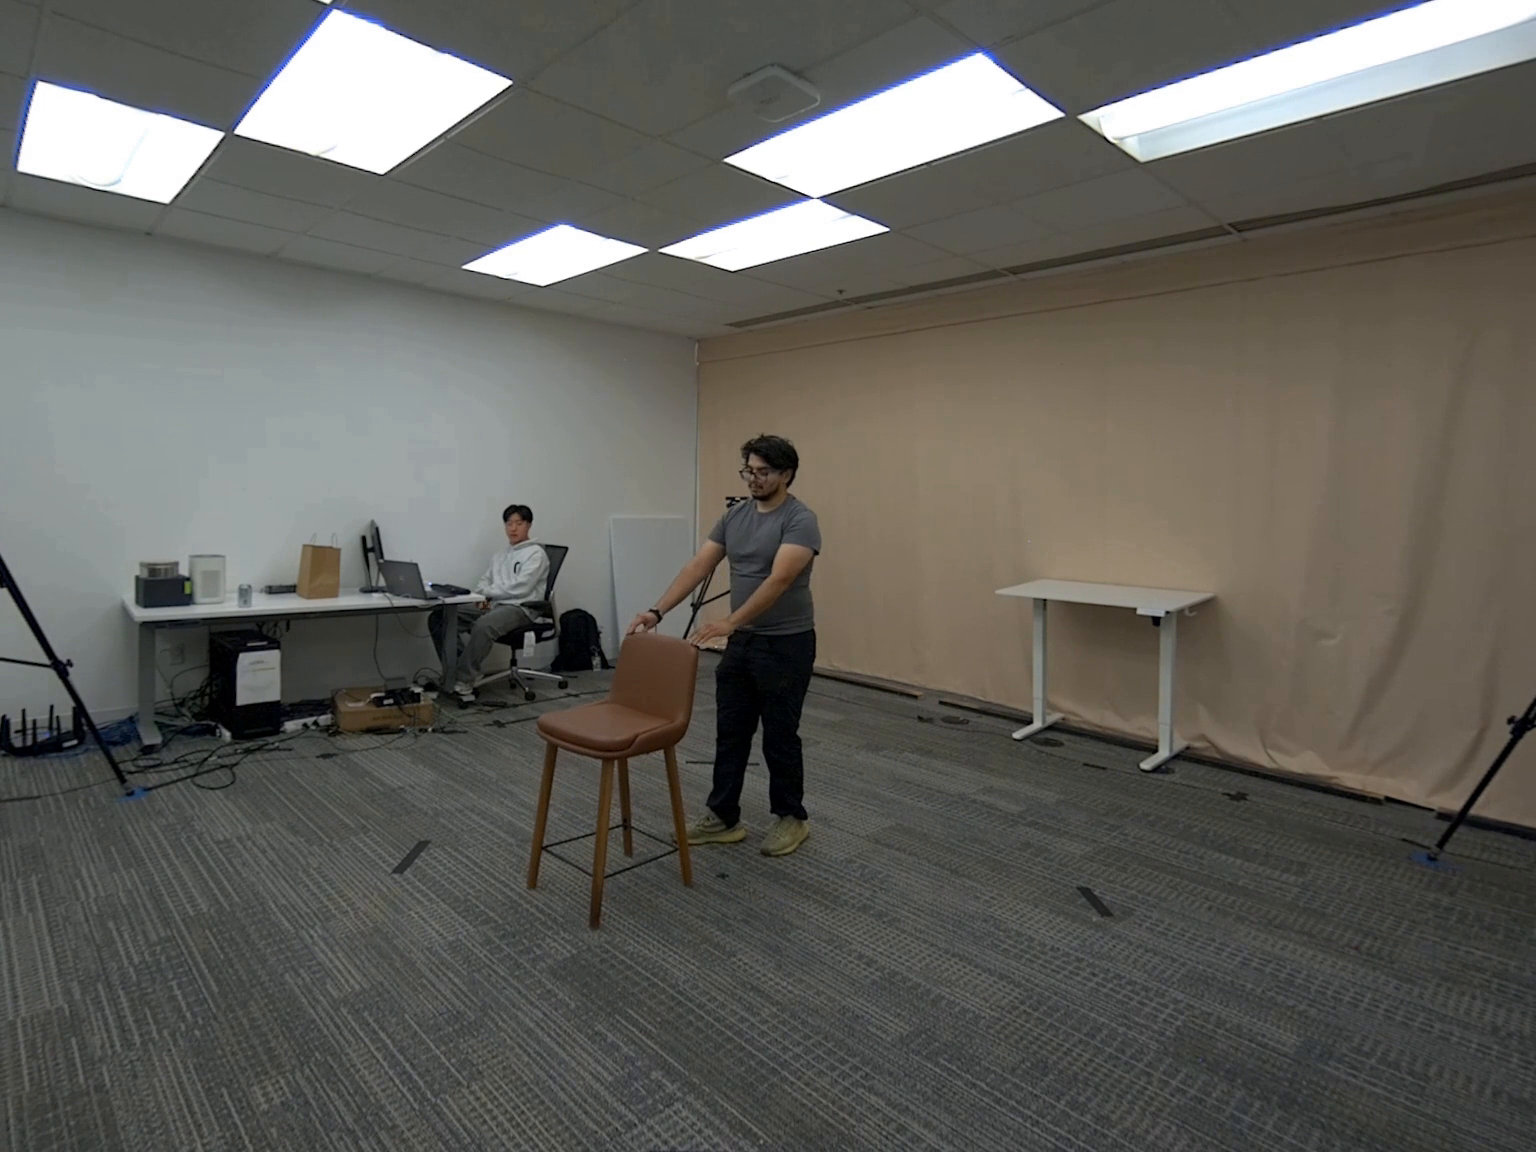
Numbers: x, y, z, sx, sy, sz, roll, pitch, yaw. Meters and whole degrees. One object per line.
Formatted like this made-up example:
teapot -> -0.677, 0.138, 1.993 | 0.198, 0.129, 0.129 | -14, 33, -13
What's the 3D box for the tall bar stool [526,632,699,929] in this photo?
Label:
tall bar stool -> -0.541, 0.672, 2.976 | 0.468, 0.889, 0.456 | 4, 2, 44
